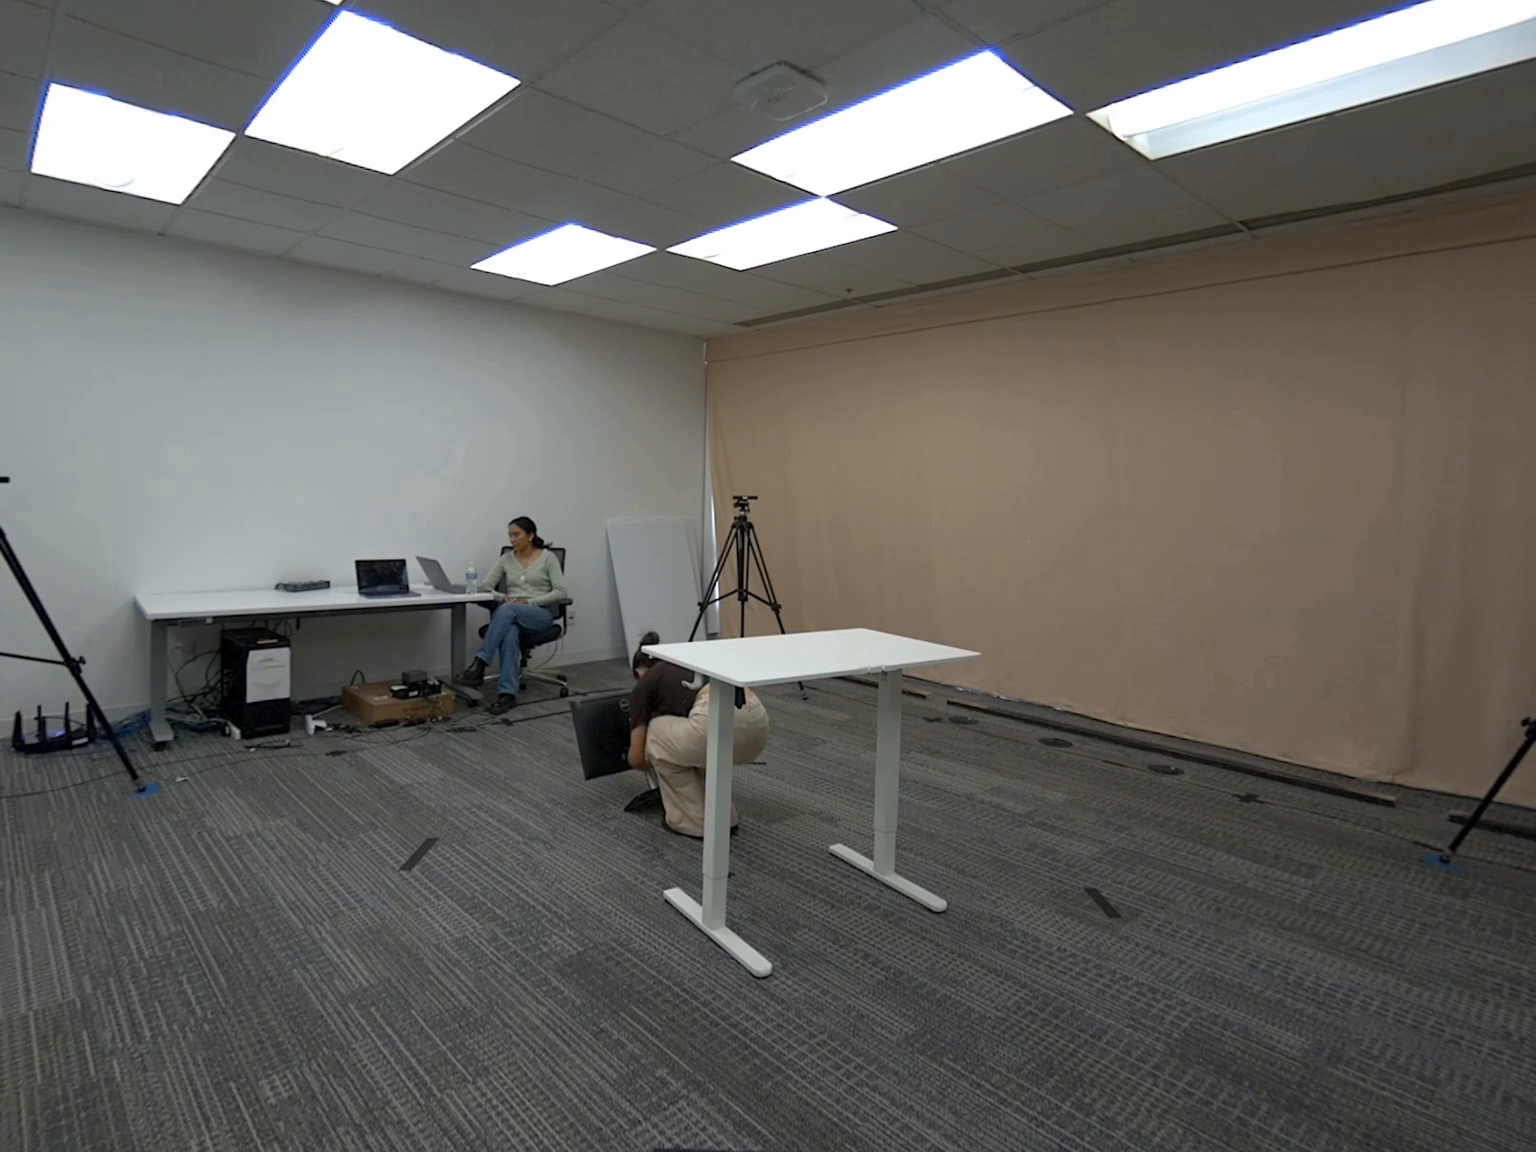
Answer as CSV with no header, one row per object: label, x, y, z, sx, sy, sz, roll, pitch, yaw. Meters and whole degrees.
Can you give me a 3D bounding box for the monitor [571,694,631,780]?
monitor,-0.602,0.770,3.864,0.526,0.534,0.187,0,-35,-47
